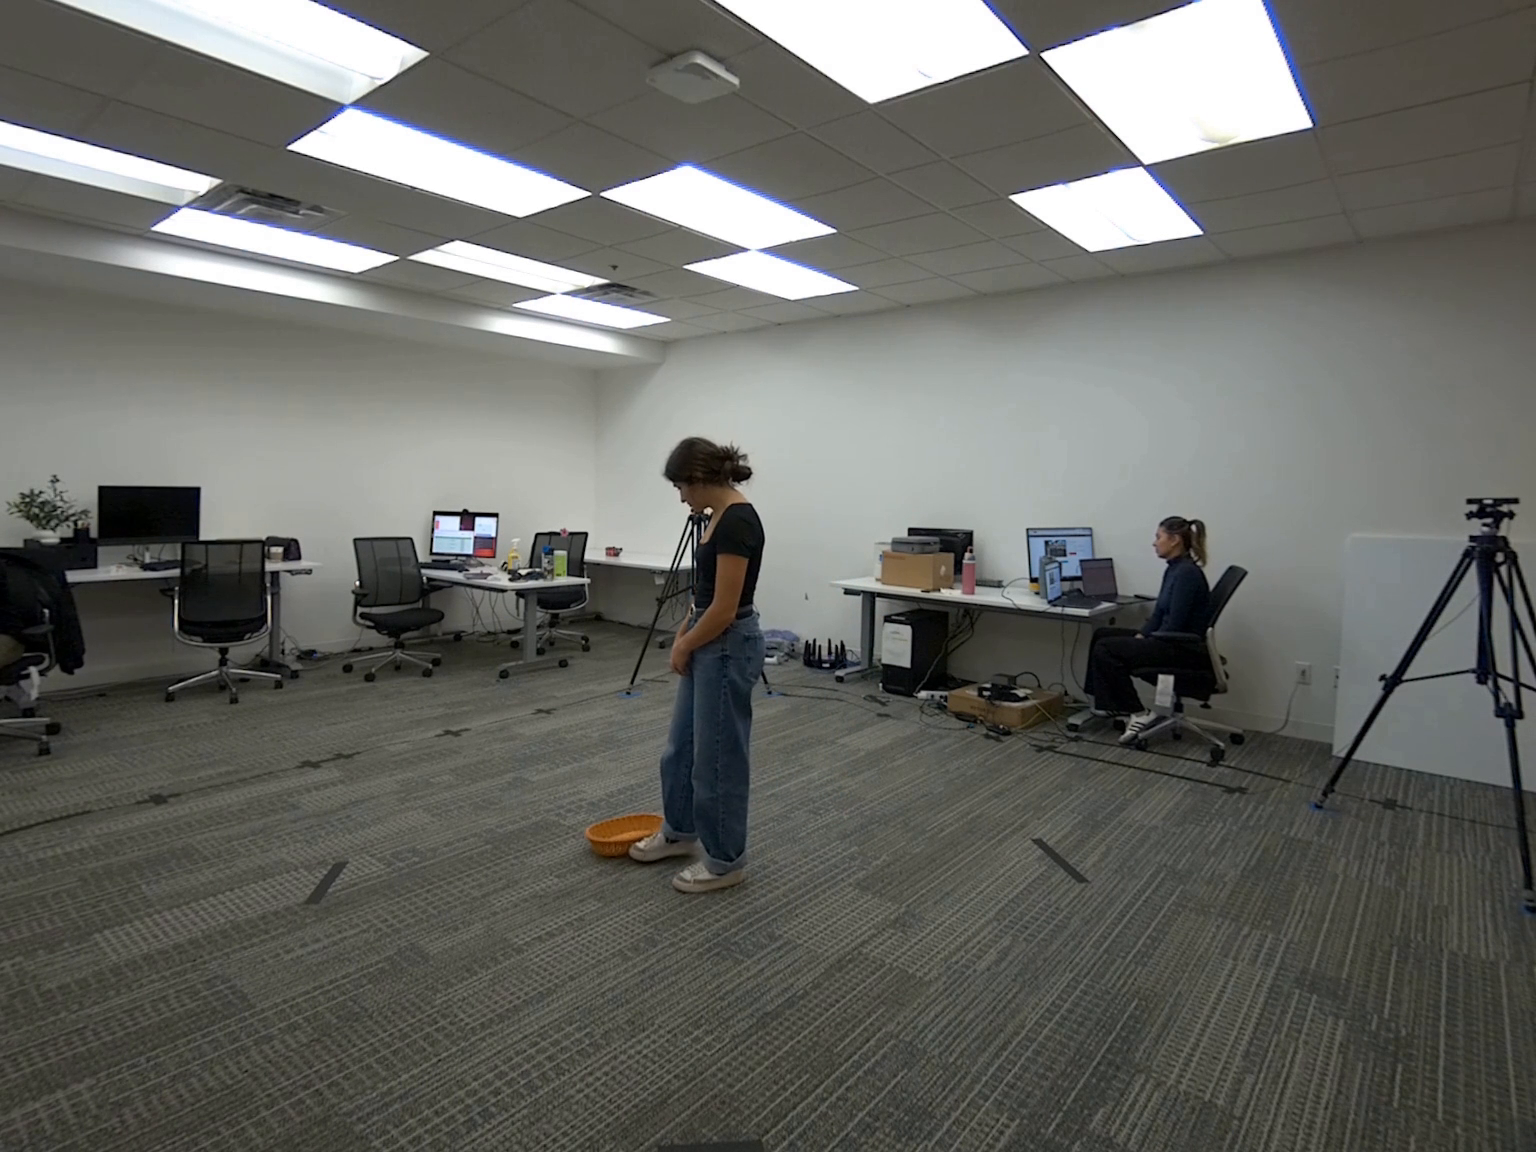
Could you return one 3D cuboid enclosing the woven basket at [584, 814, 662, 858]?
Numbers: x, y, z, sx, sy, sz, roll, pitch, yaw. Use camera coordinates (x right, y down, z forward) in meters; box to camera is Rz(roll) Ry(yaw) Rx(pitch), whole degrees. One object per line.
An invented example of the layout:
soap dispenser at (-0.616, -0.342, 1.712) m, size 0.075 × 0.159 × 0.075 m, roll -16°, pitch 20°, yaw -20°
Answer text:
woven basket at (-0.546, 1.000, 3.288) m, size 0.340 × 0.073 × 0.260 m, roll -4°, pitch 3°, yaw -41°
